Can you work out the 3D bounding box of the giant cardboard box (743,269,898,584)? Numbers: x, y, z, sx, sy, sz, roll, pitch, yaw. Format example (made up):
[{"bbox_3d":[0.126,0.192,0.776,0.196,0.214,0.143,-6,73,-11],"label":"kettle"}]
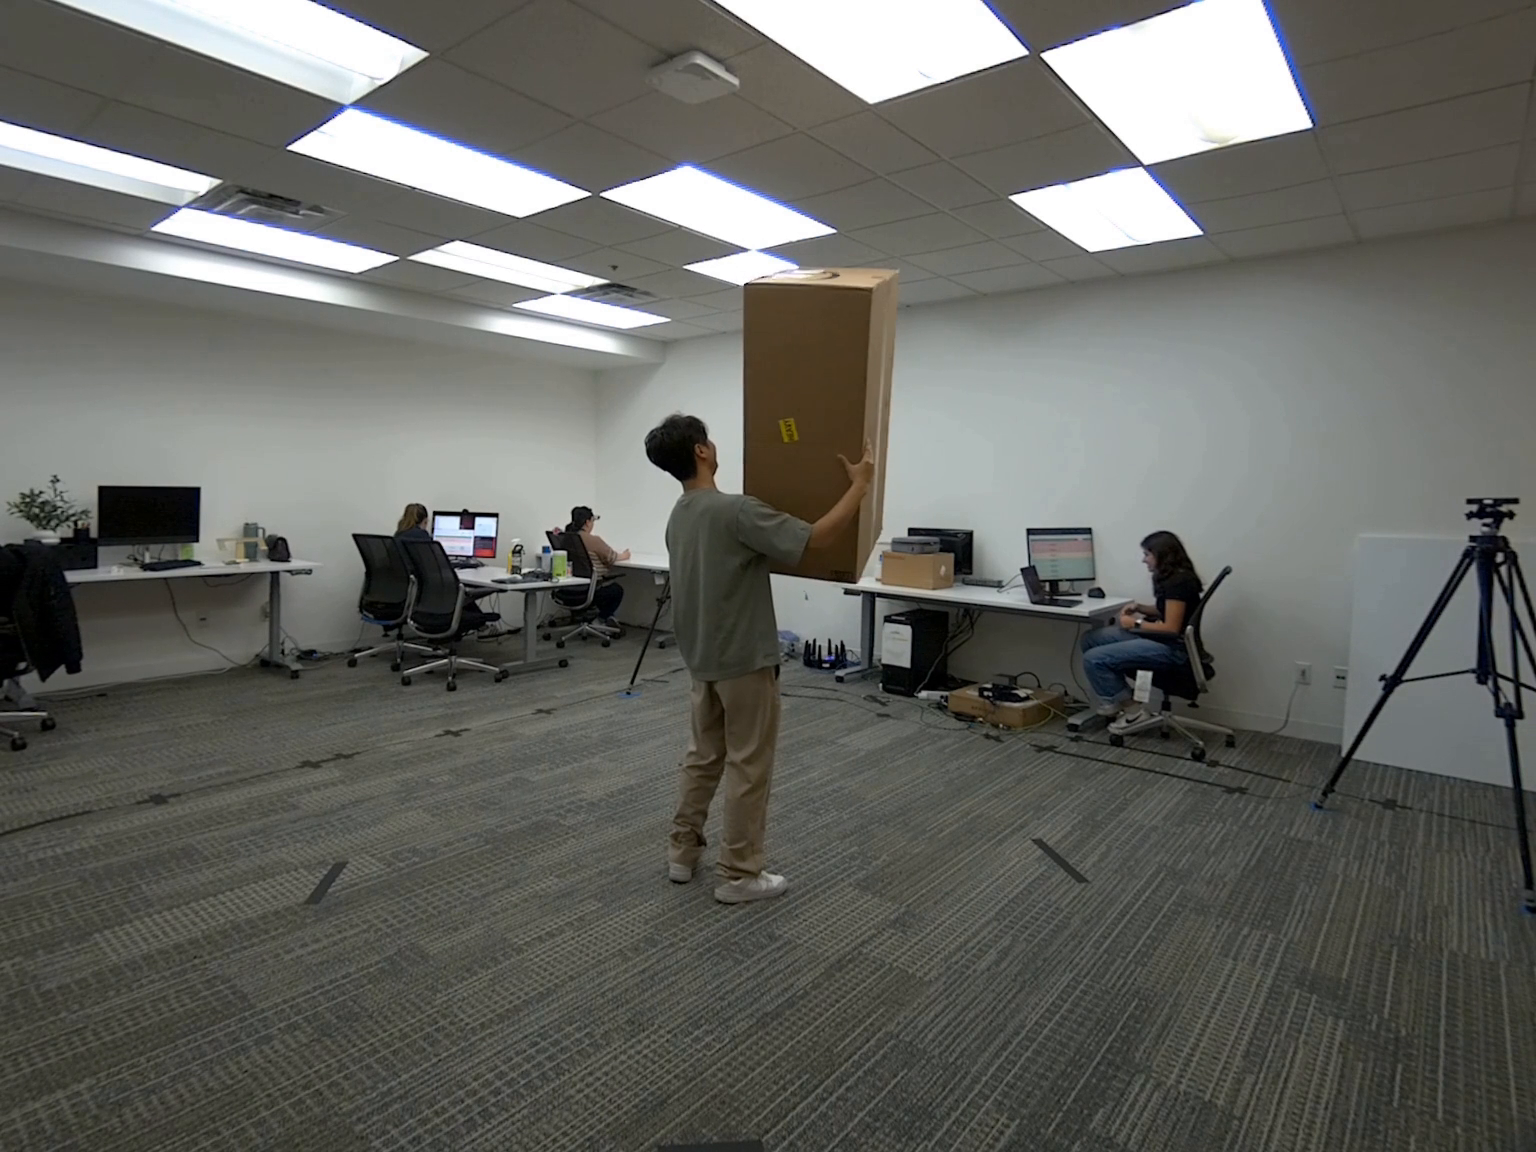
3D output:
[{"bbox_3d":[0.185,-0.574,3.116,0.435,1.005,0.578,8,24,16],"label":"giant cardboard box"}]
